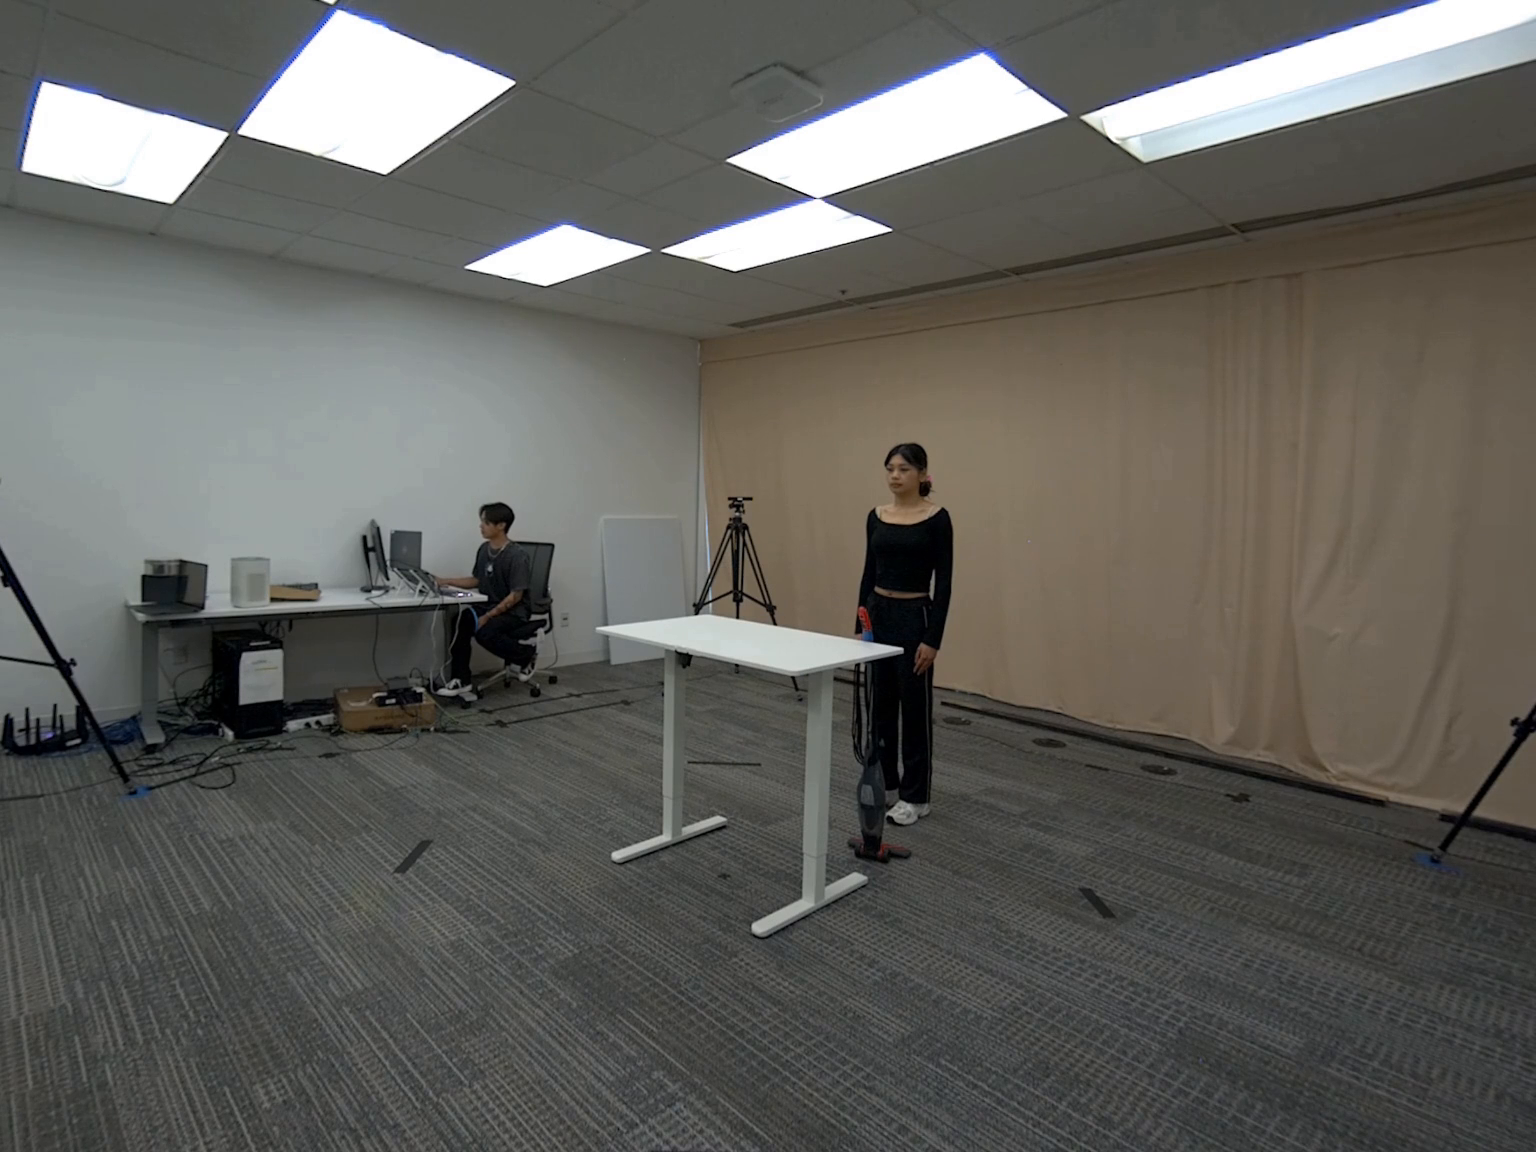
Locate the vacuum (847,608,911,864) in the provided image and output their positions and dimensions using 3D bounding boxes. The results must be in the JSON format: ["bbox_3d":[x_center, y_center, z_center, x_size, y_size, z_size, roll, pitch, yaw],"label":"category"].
[{"bbox_3d":[0.374,0.620,3.165,0.258,1.034,0.143,4,21,30],"label":"vacuum"}]
